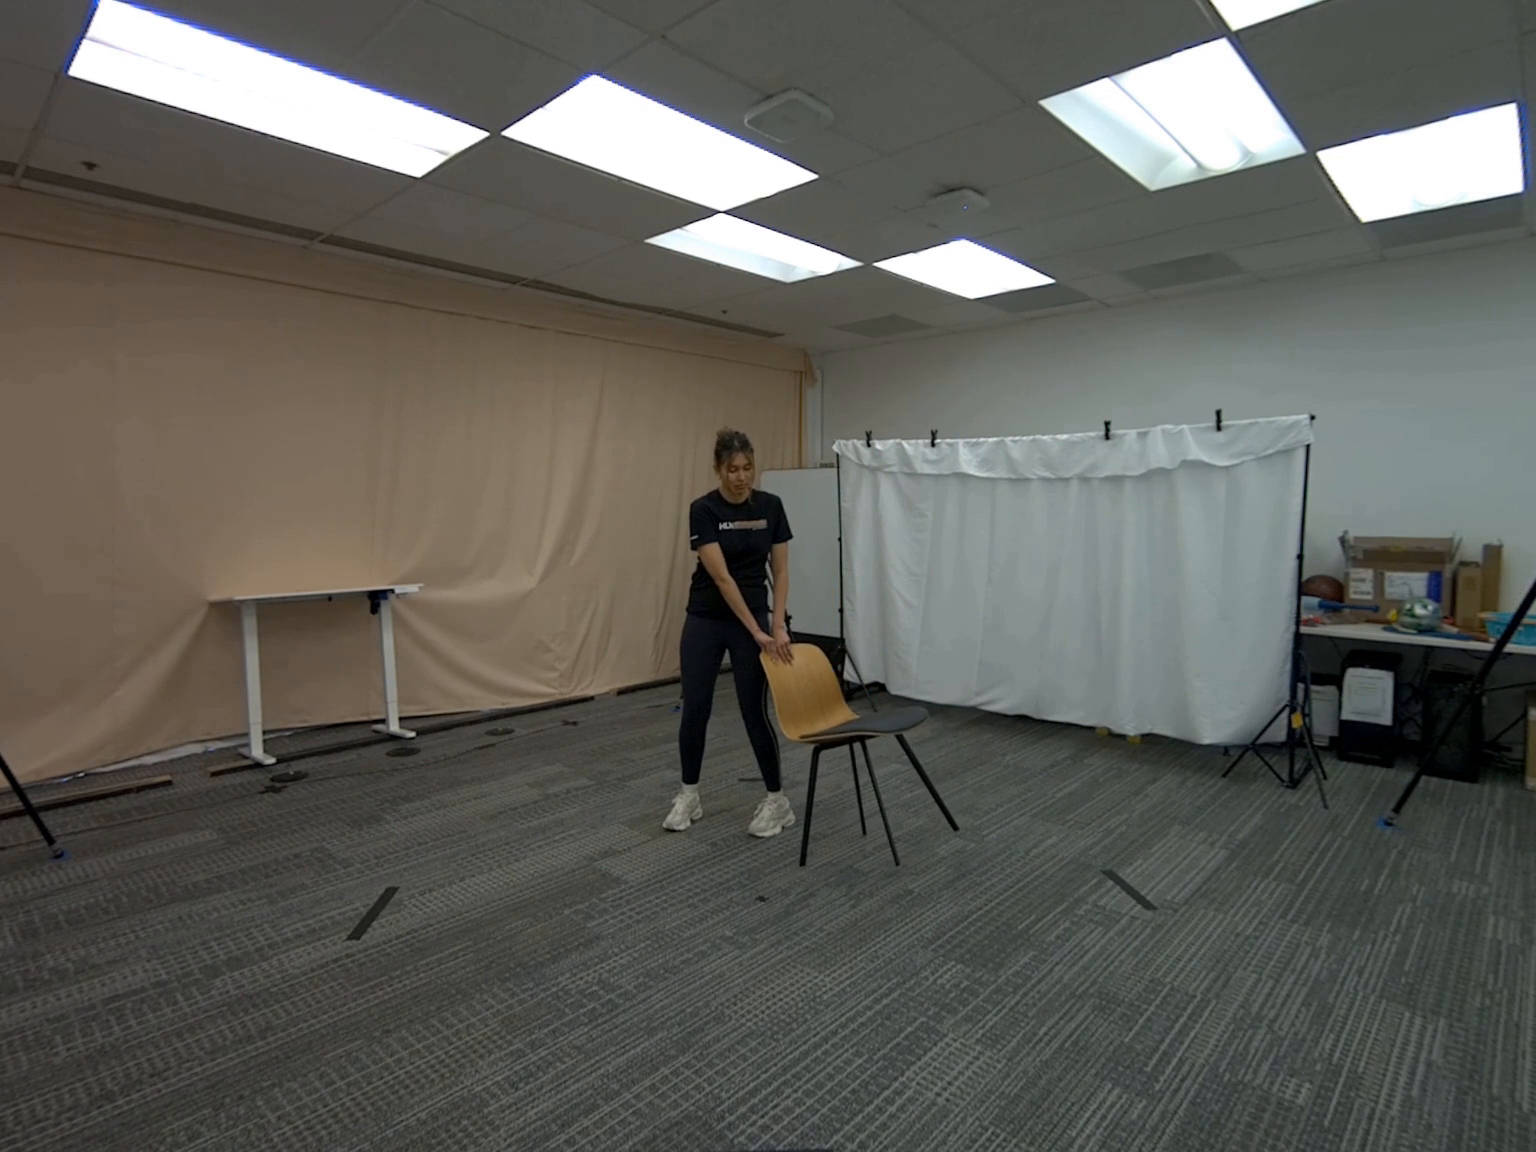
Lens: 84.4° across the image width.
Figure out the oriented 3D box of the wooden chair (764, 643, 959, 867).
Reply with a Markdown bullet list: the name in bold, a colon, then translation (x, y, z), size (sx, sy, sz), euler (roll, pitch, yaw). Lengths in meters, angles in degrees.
- **wooden chair**: translation (0.348, 0.641, 3.305), size (0.534, 0.886, 0.463), euler (-25, -14, 40)
